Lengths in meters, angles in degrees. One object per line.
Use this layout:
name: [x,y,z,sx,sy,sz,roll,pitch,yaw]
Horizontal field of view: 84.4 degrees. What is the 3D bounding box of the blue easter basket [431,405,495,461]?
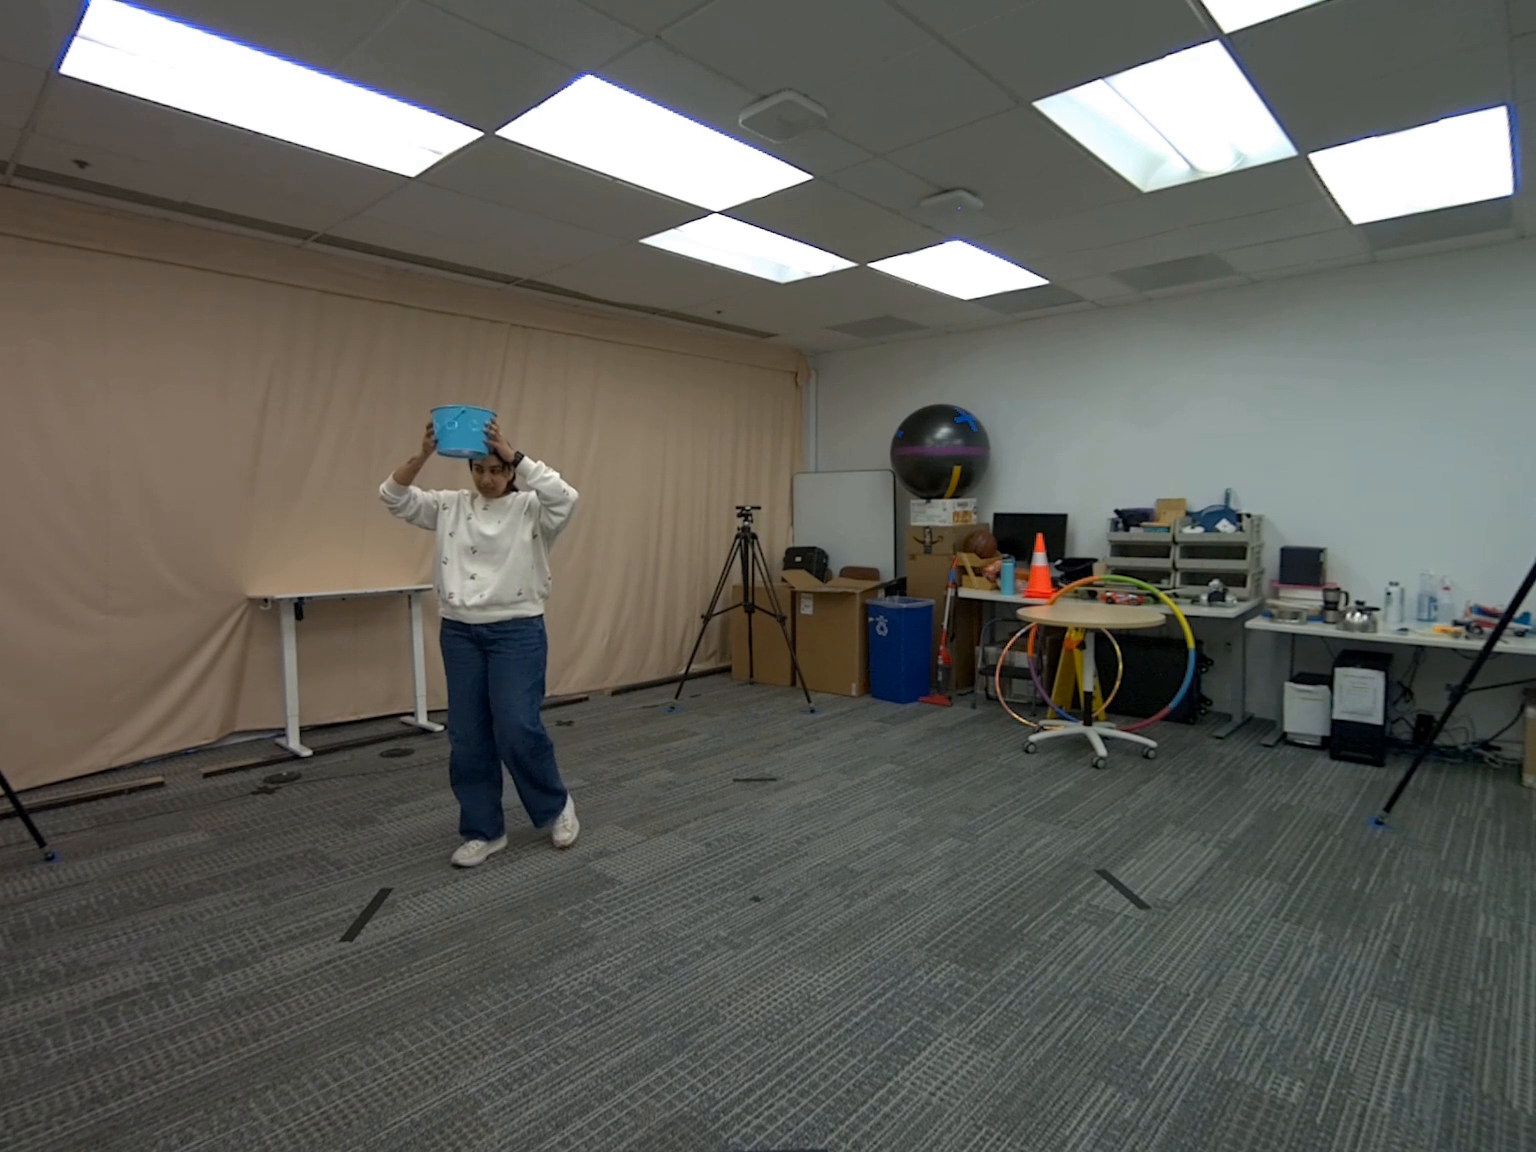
blue easter basket: [-1.119,-0.521,3.059,0.243,0.156,0.243,0,-3,-2]
